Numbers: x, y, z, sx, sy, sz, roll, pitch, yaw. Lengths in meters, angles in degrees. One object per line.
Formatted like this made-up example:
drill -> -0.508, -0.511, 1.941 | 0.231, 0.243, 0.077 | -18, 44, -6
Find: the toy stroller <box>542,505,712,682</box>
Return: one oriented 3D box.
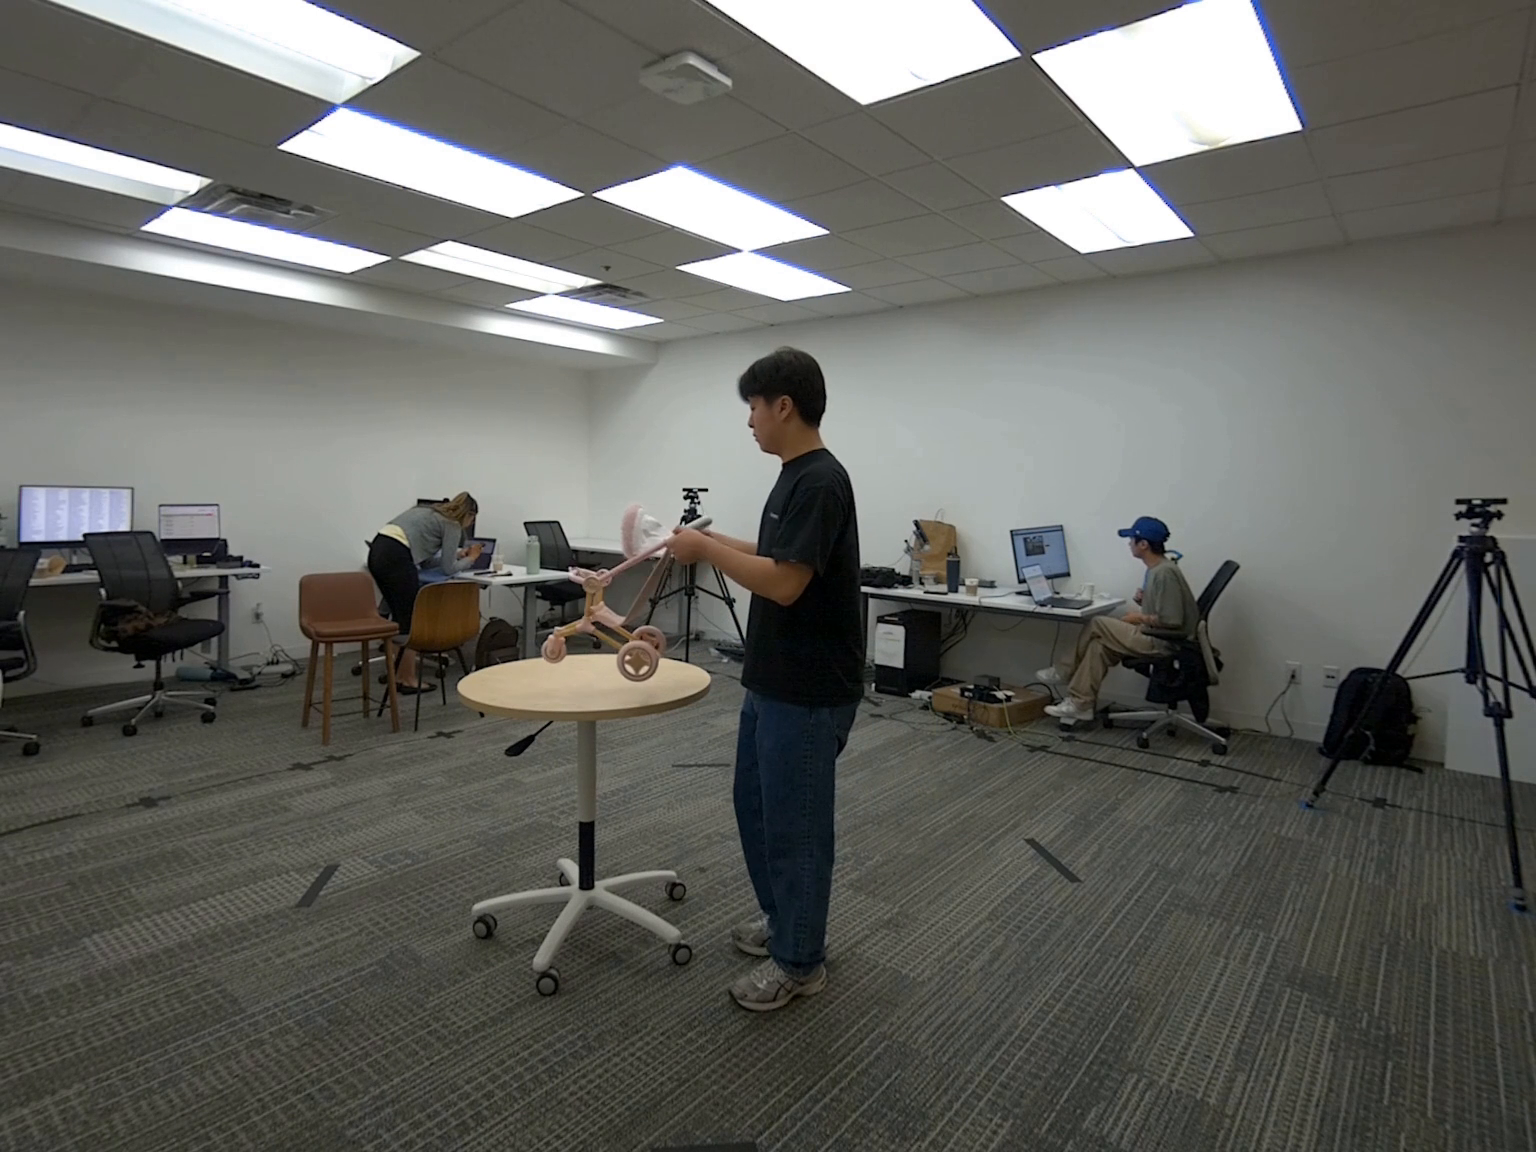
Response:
toy stroller -> -0.414, 0.031, 2.380 | 0.343, 0.534, 0.280 | 20, 4, 4
